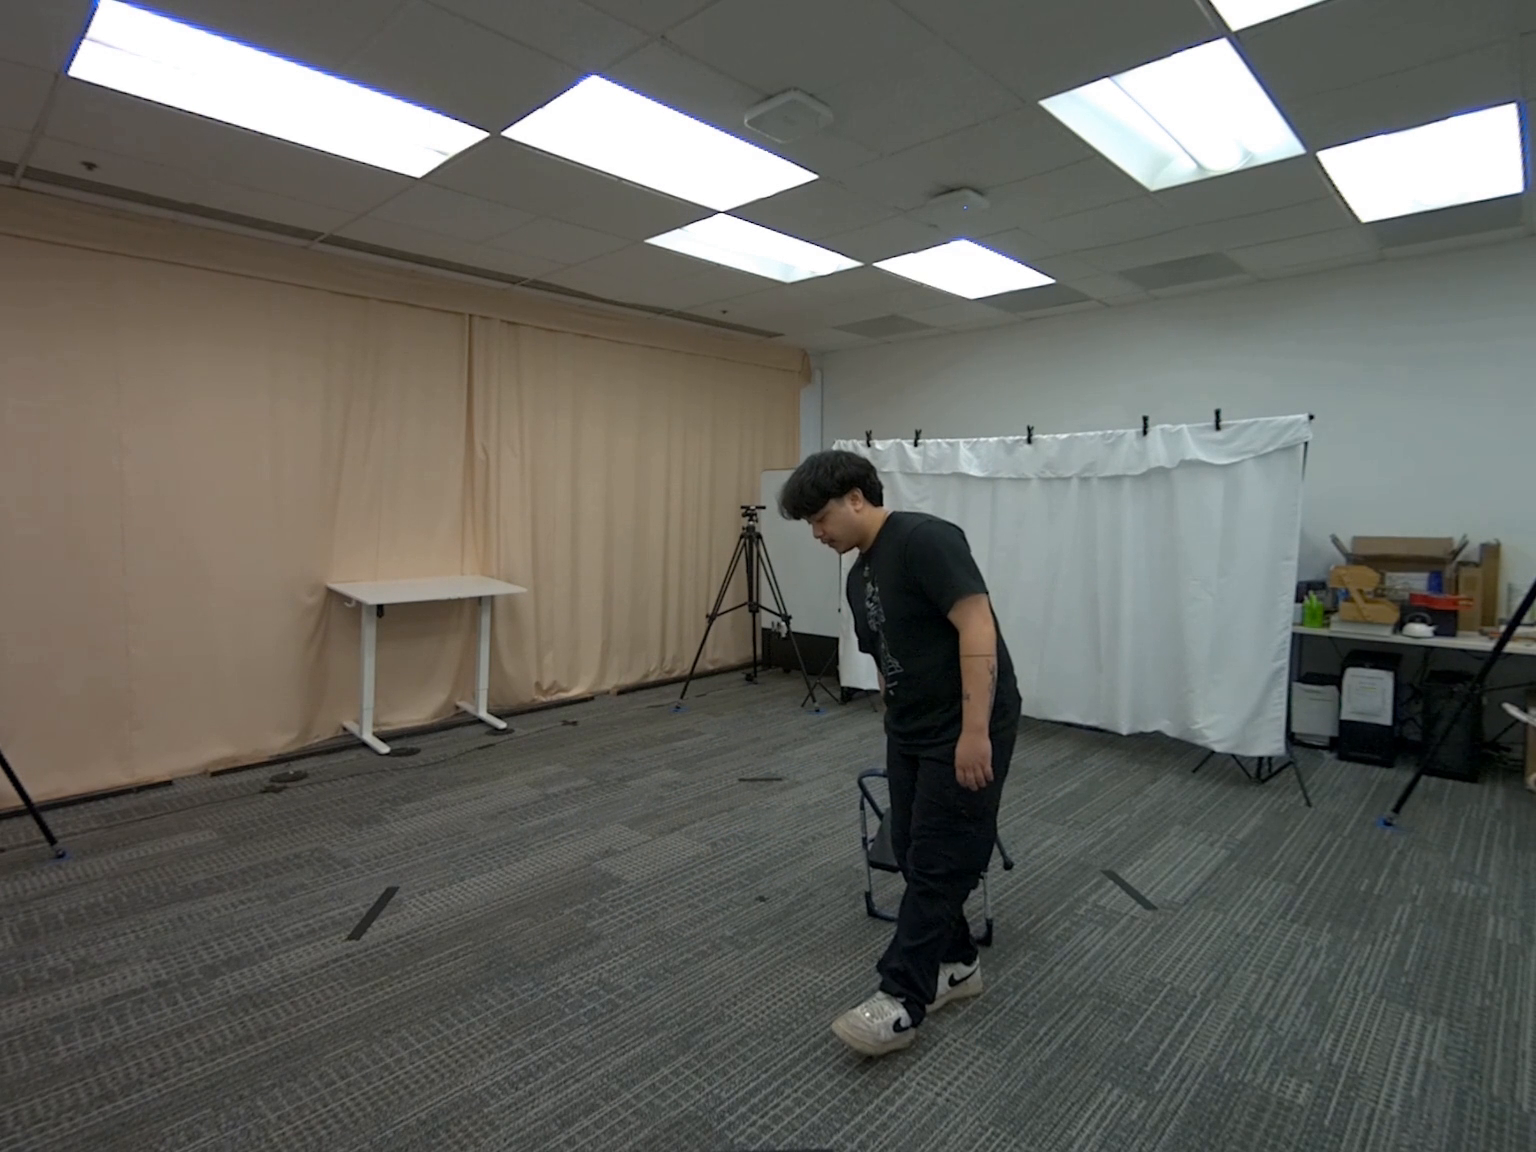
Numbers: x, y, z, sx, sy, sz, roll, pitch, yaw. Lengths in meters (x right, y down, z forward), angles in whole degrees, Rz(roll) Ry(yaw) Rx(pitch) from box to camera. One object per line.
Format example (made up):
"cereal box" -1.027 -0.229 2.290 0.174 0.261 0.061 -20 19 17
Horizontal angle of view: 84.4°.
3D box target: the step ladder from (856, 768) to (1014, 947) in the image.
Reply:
"step ladder" 0.529 0.823 2.747 0.443 0.593 0.347 1 32 29
